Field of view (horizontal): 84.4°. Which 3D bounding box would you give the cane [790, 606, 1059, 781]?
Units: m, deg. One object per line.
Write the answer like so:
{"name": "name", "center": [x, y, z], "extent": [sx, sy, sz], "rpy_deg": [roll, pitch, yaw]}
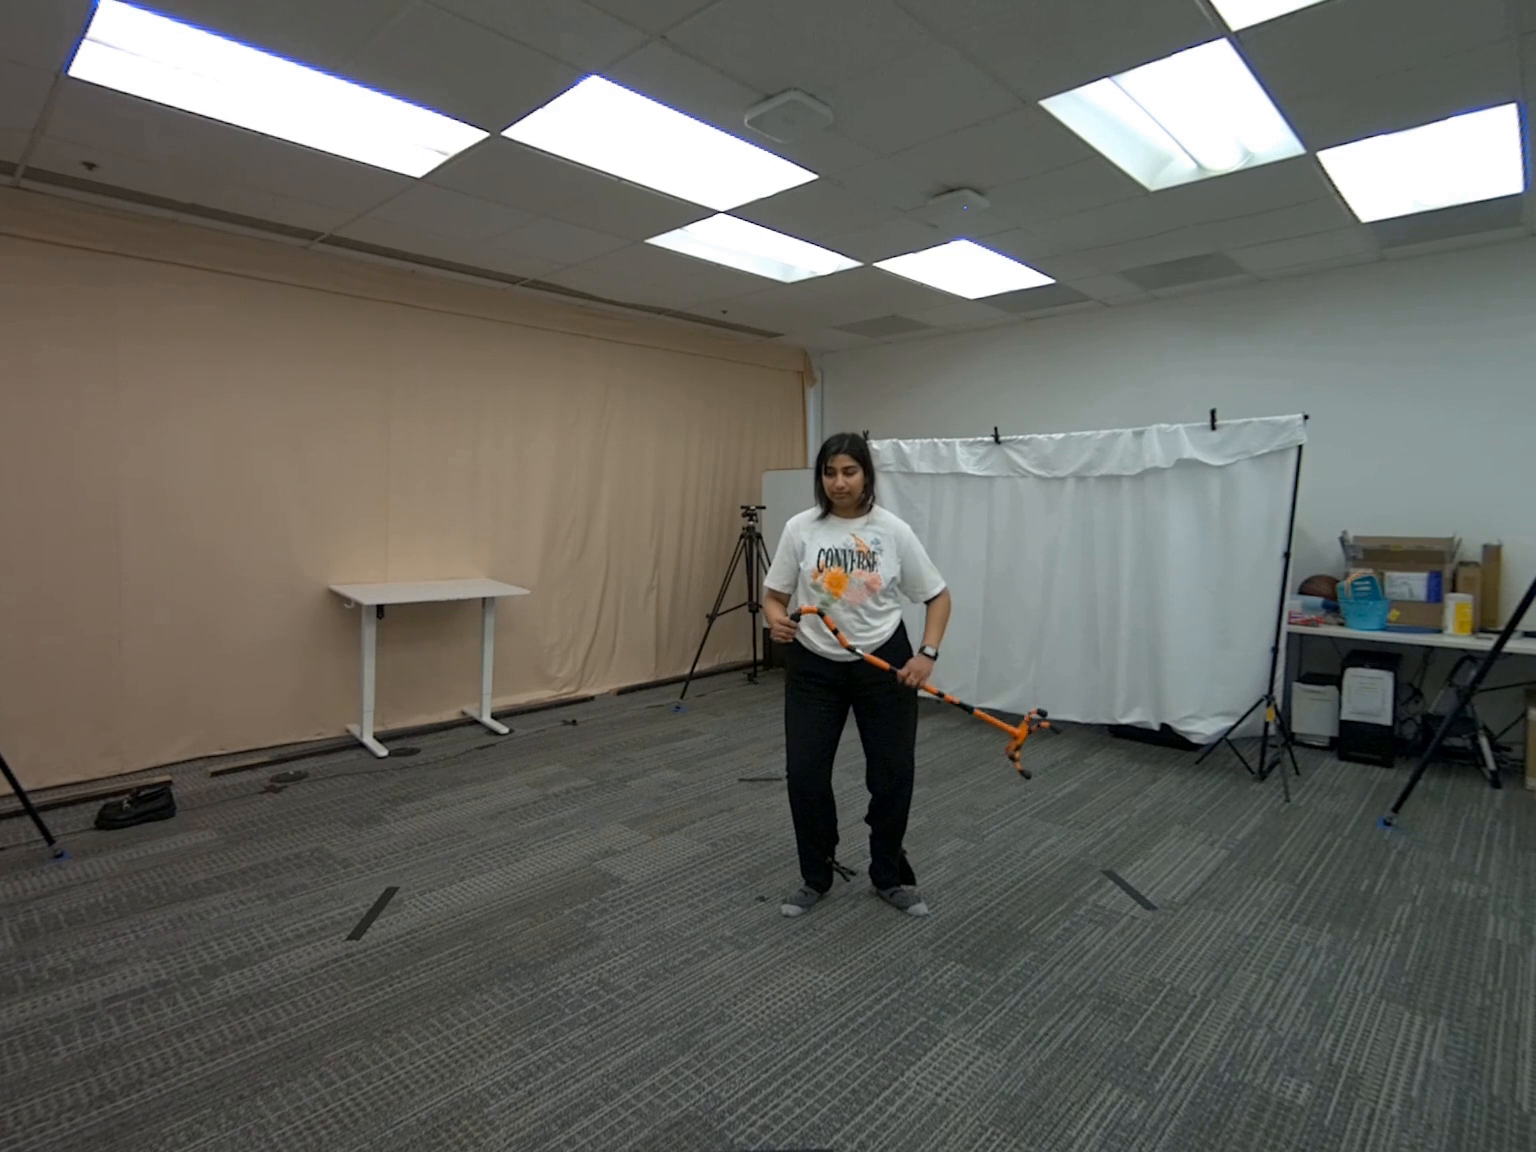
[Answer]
{"name": "cane", "center": [0.462, 0.337, 2.692], "extent": [0.903, 0.206, 0.152], "rpy_deg": [27, 10, -4]}
